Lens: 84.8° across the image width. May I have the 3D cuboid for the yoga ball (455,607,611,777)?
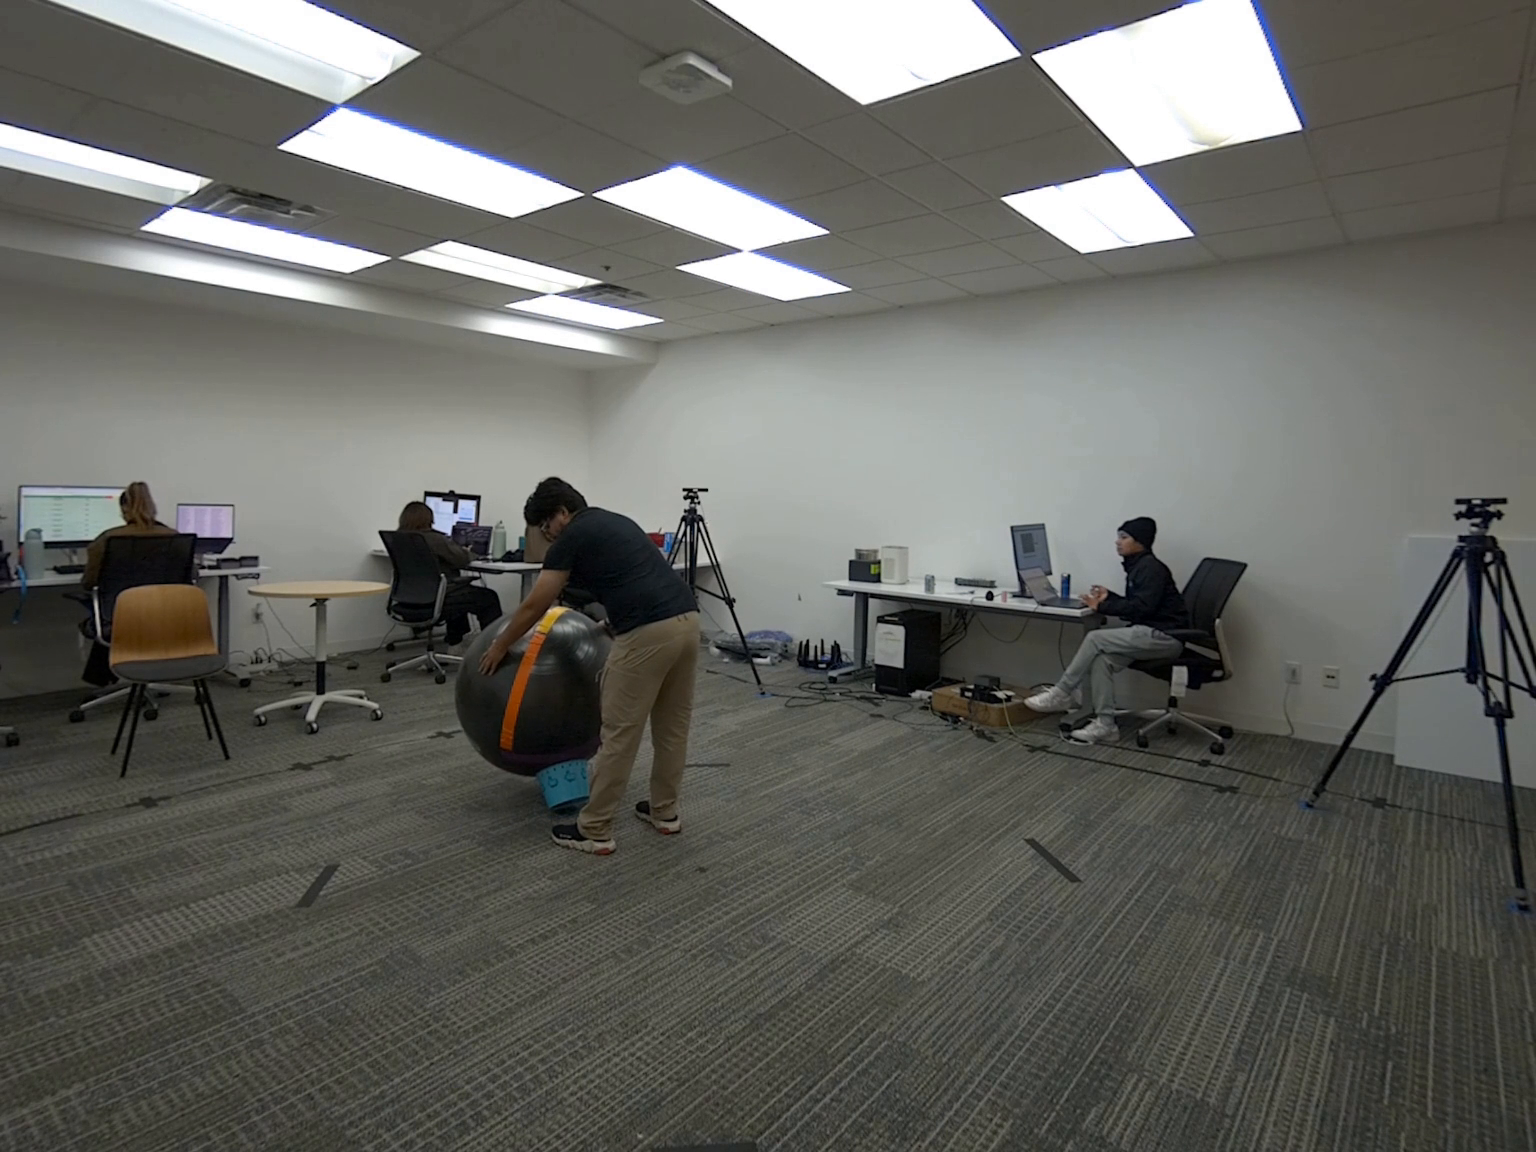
[{"bbox_3d":[-1.038,0.513,3.832,0.757,0.756,0.762,1,4,-2],"label":"yoga ball"}]
